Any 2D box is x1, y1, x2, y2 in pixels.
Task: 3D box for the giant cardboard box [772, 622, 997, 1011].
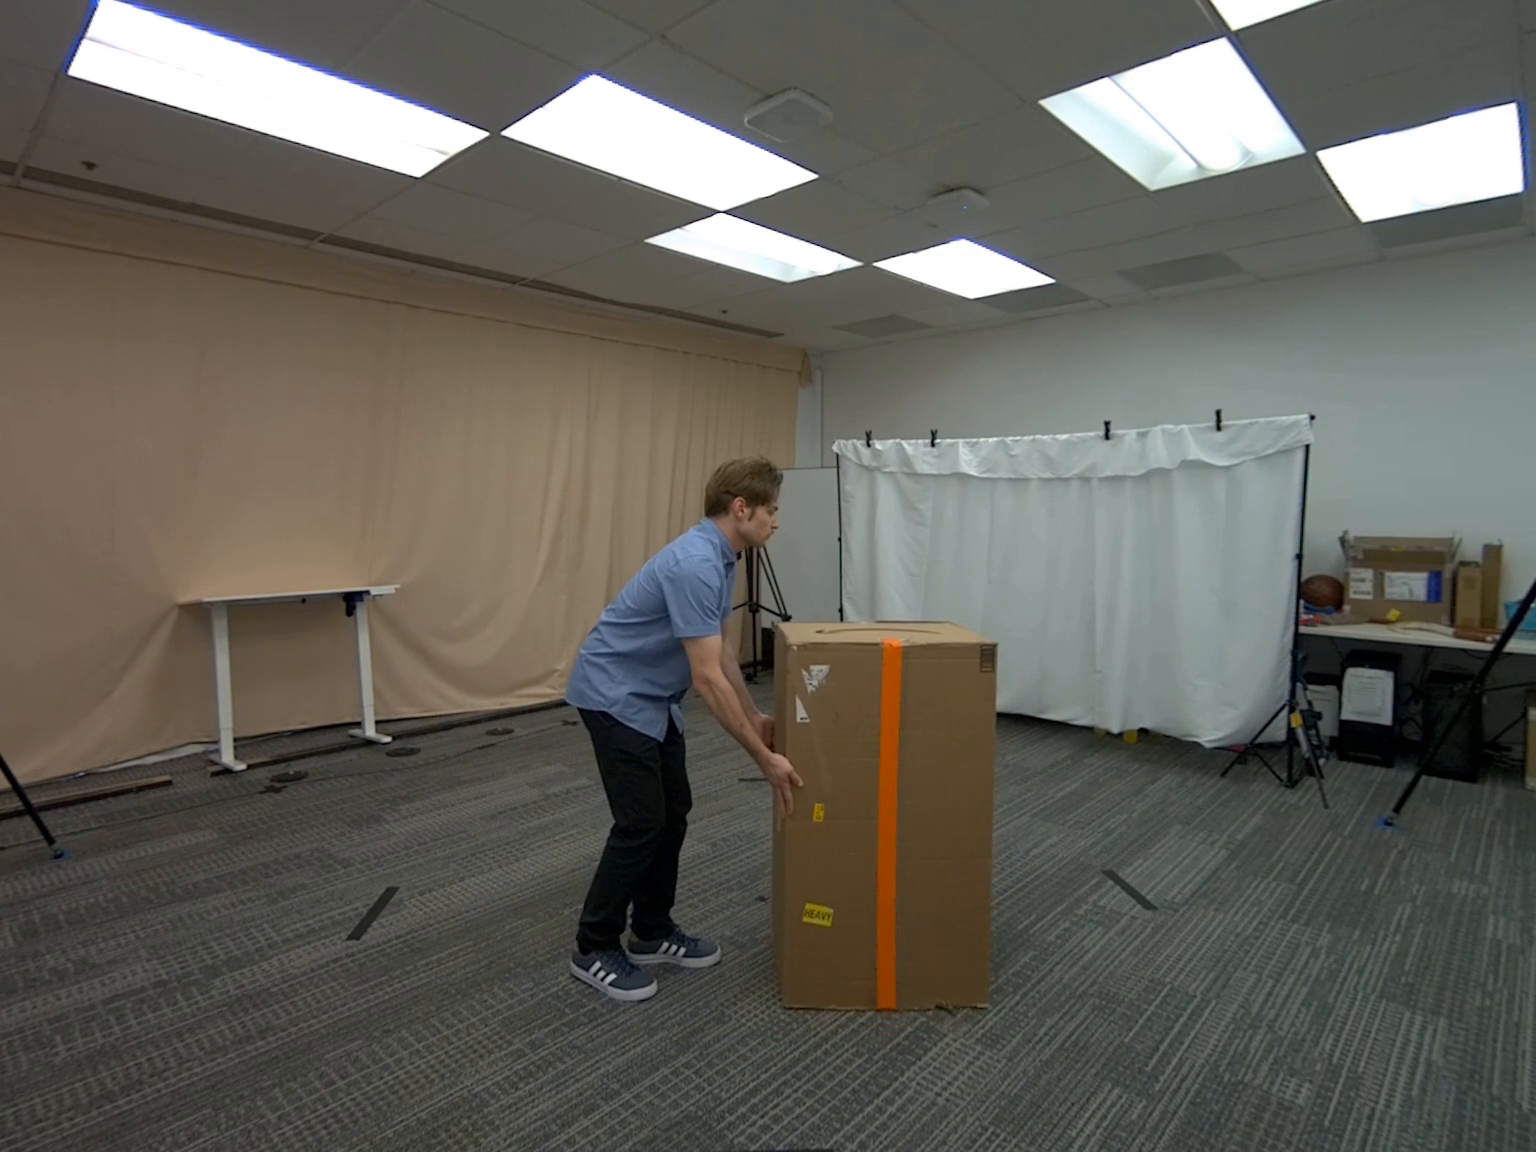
[{"bbox_3d":[0.322,0.673,2.503,0.577,1.024,0.427,0,3,-2],"label":"giant cardboard box"}]
